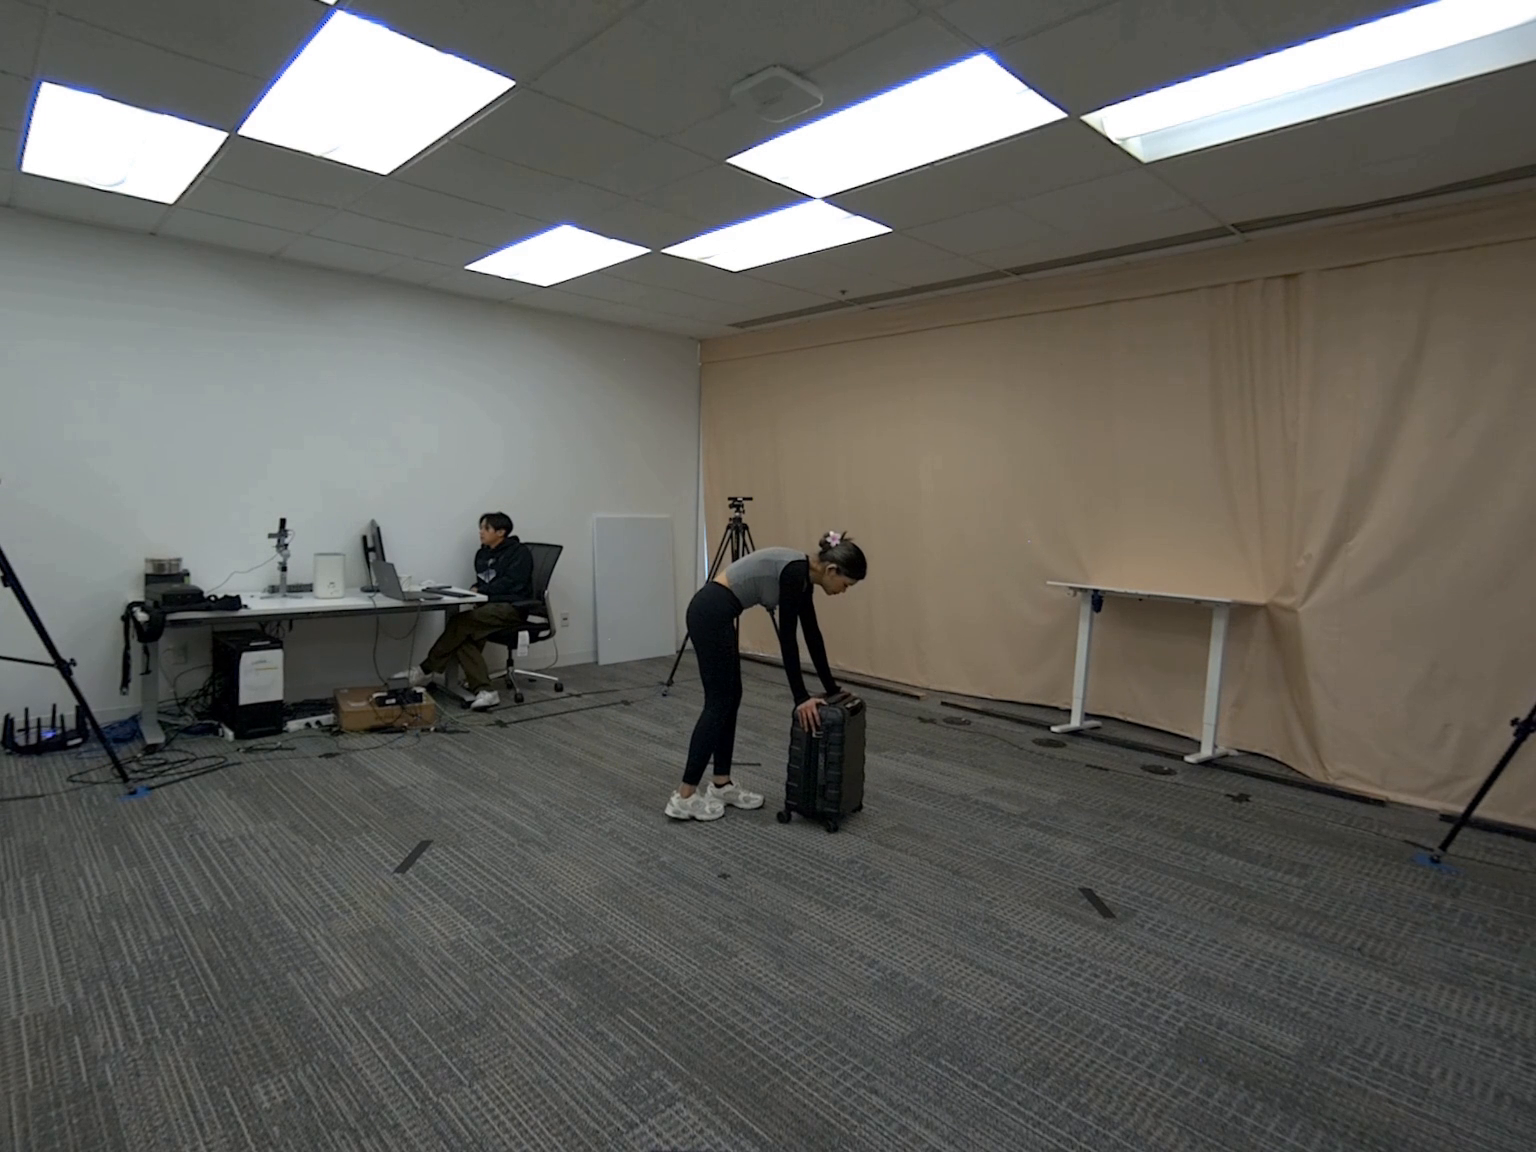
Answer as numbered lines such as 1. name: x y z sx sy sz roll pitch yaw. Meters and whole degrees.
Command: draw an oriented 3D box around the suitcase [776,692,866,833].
1. suitcase: 0.249 0.794 3.692 0.254 0.547 0.369 6 6 29
